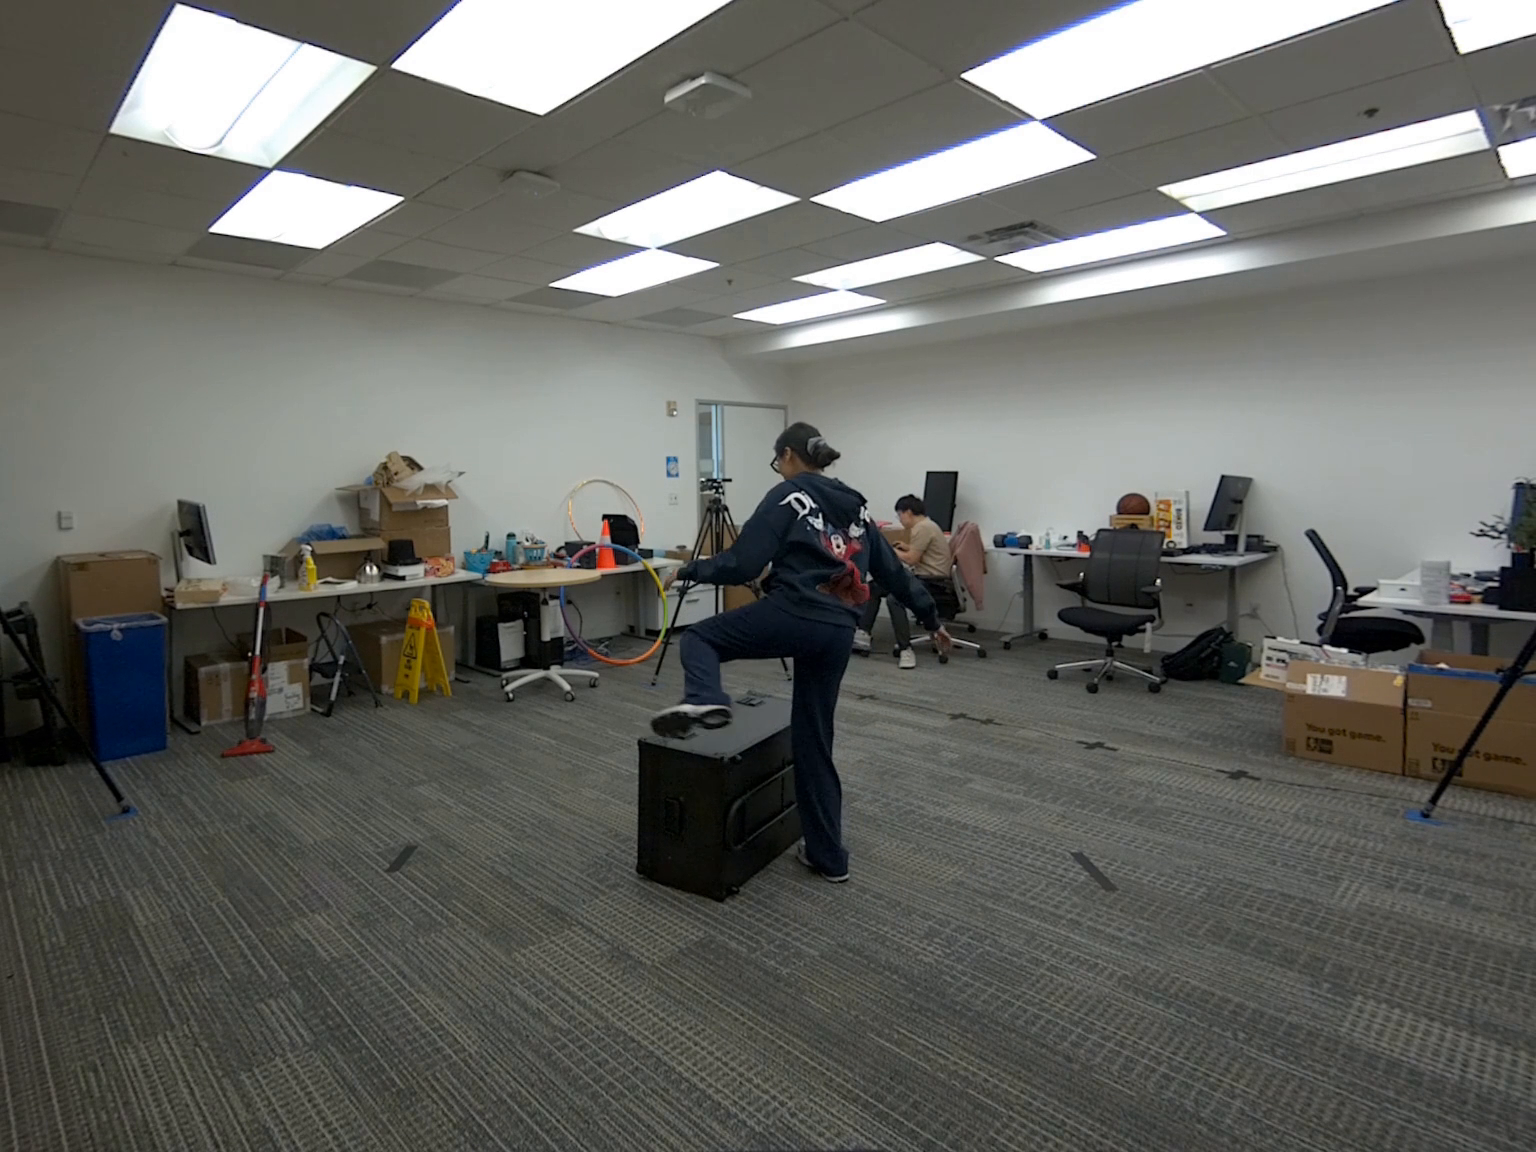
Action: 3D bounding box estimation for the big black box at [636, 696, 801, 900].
[{"bbox_3d":[-0.085,0.776,3.235,0.407,0.518,0.843,4,8,29],"label":"big black box"}]
